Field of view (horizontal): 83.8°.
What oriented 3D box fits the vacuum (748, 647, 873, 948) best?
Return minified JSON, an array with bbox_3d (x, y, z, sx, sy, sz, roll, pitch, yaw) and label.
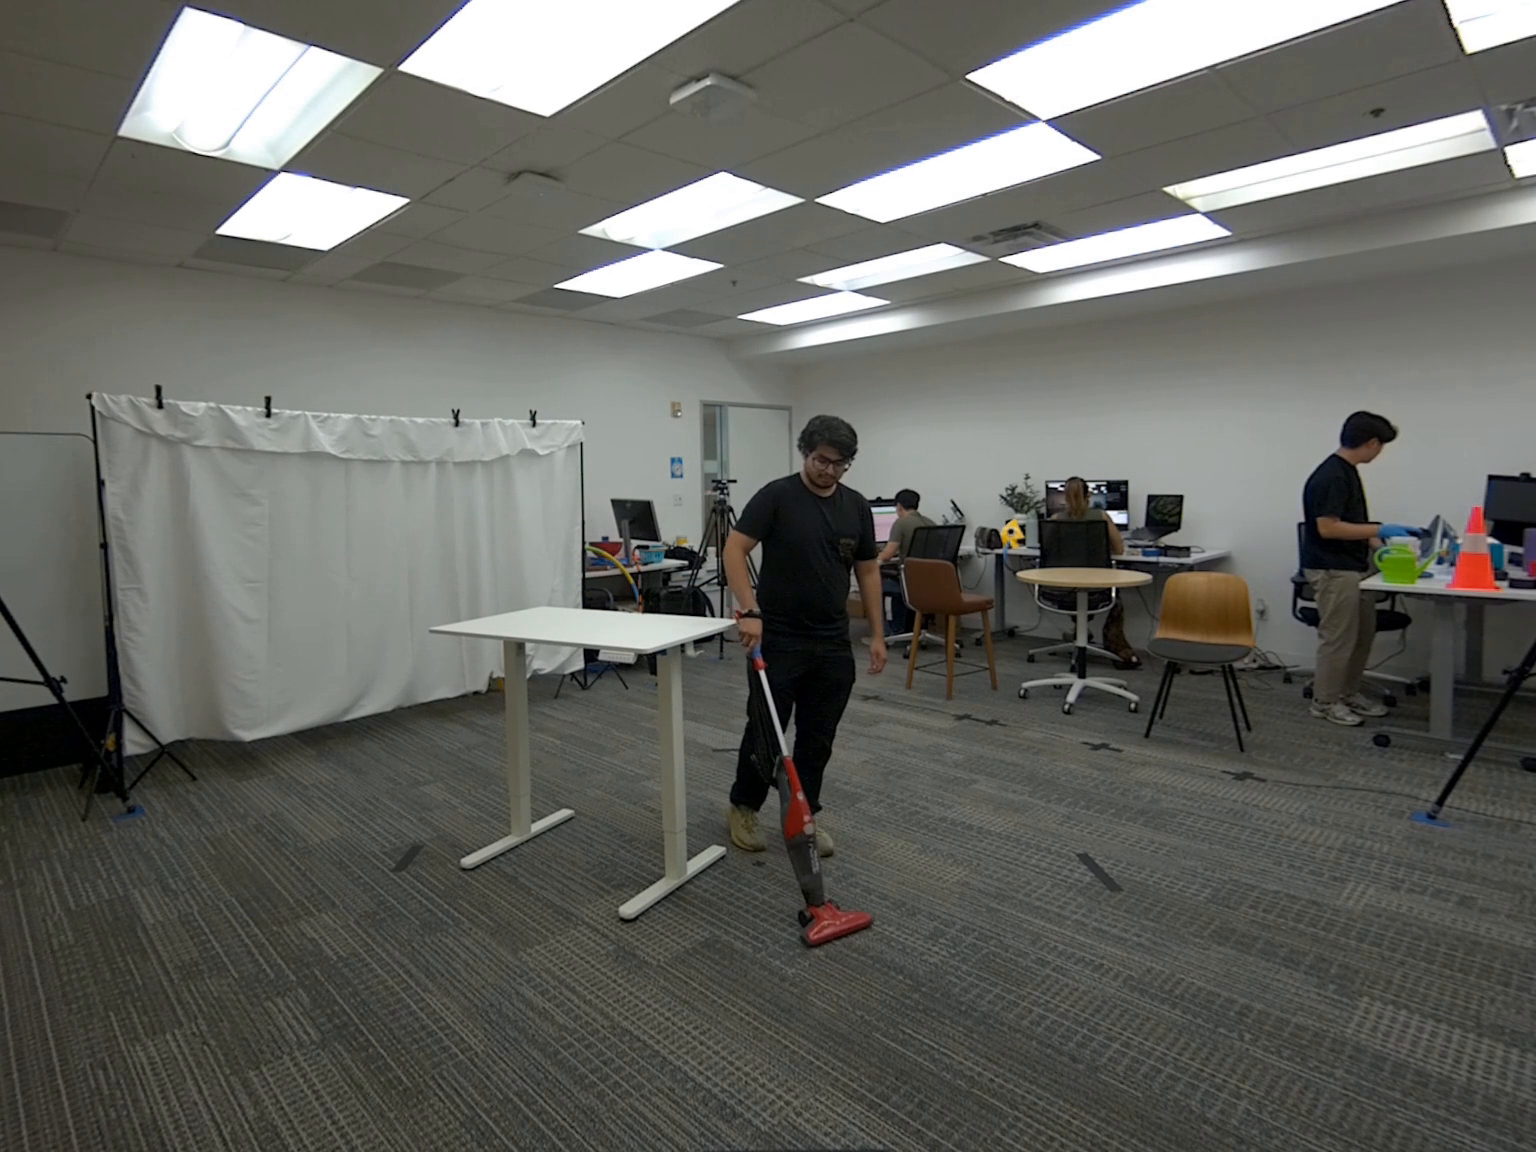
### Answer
[{"bbox_3d":[0.057,0.618,2.824,0.246,1.073,0.144,-4,-23,-31],"label":"vacuum"}]
